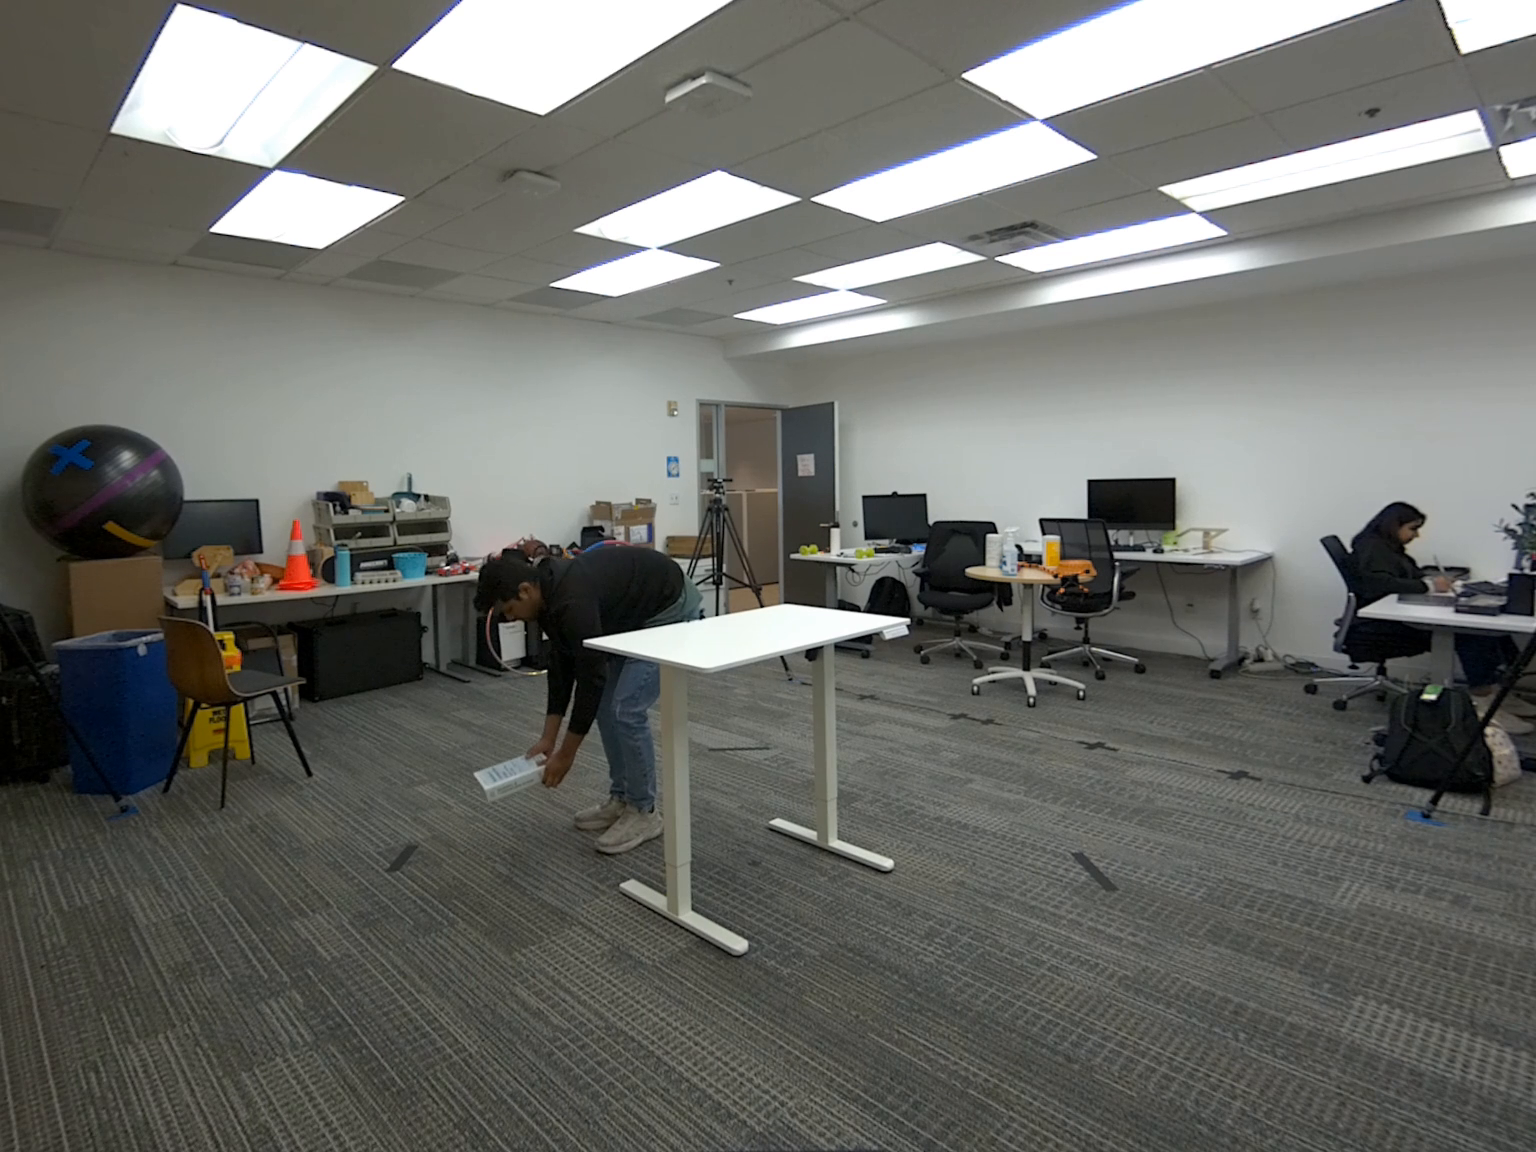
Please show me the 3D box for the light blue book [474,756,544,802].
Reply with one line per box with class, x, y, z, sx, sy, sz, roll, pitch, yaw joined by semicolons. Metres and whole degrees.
light blue book;-0.956;0.748;3.208;0.256;0.058;0.196;-15;12;-26
